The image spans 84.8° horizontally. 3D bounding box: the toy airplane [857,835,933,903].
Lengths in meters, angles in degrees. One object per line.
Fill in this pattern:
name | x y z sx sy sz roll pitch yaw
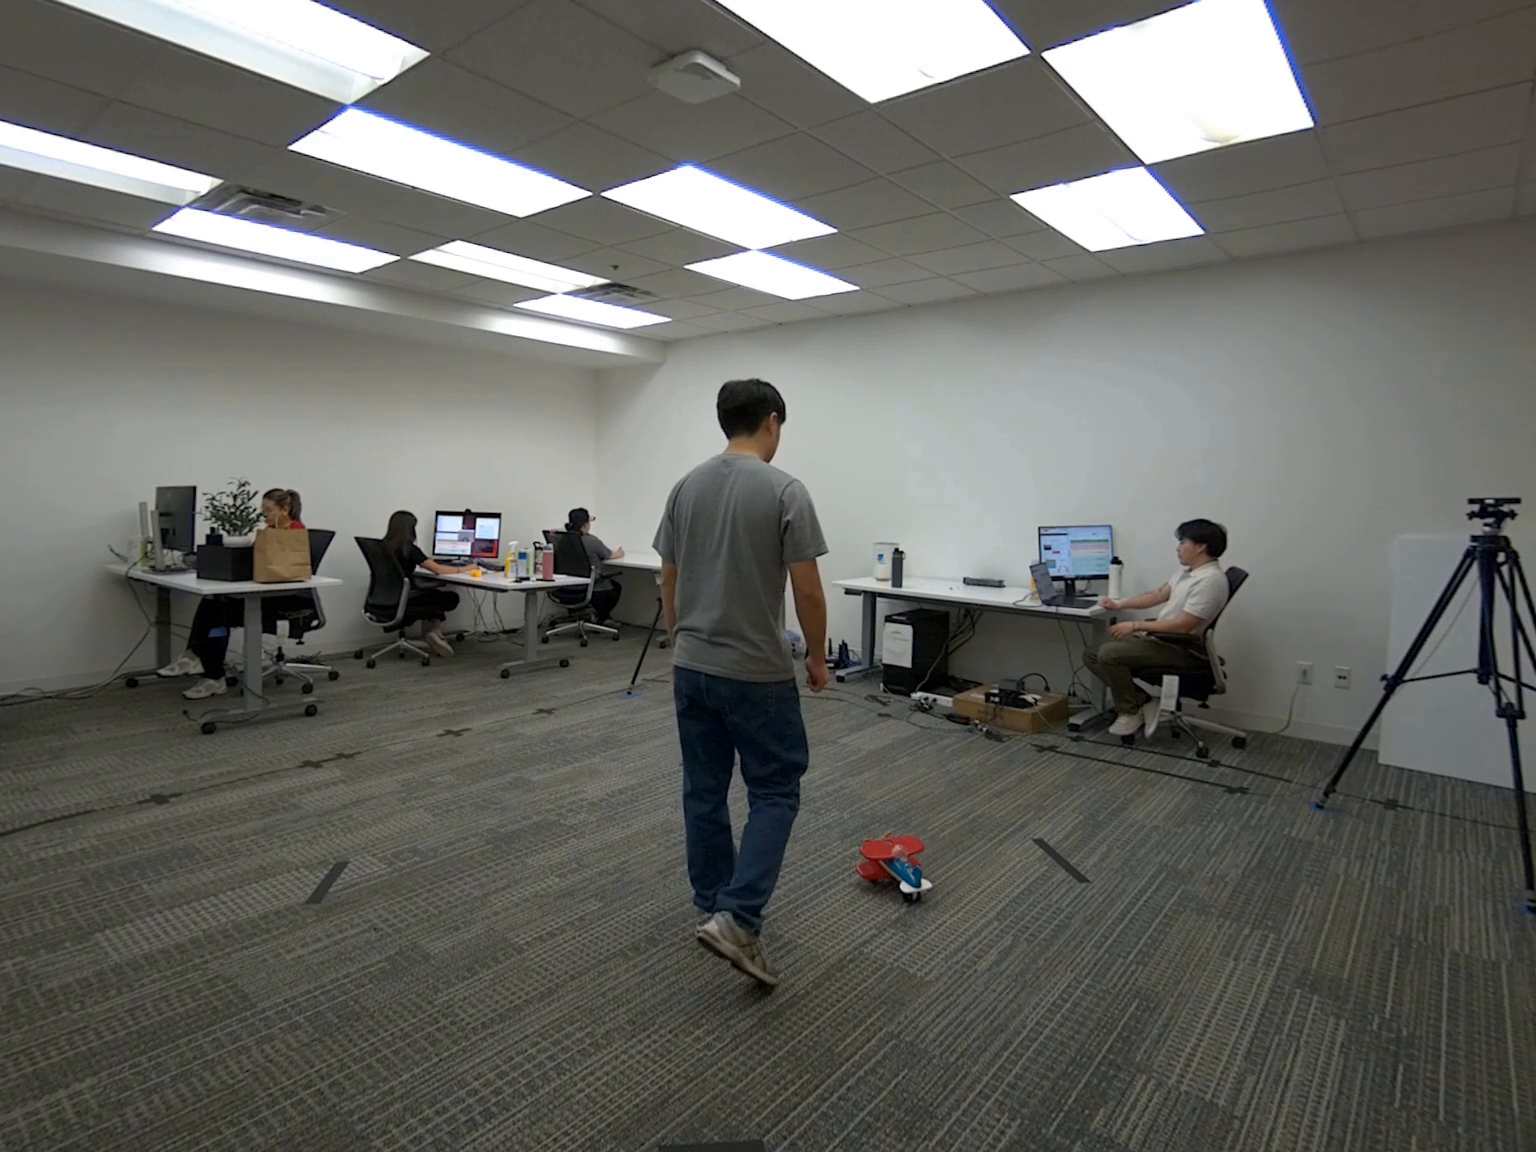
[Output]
toy airplane | 0.465 1.024 2.985 0.268 0.156 0.244 4 6 36
